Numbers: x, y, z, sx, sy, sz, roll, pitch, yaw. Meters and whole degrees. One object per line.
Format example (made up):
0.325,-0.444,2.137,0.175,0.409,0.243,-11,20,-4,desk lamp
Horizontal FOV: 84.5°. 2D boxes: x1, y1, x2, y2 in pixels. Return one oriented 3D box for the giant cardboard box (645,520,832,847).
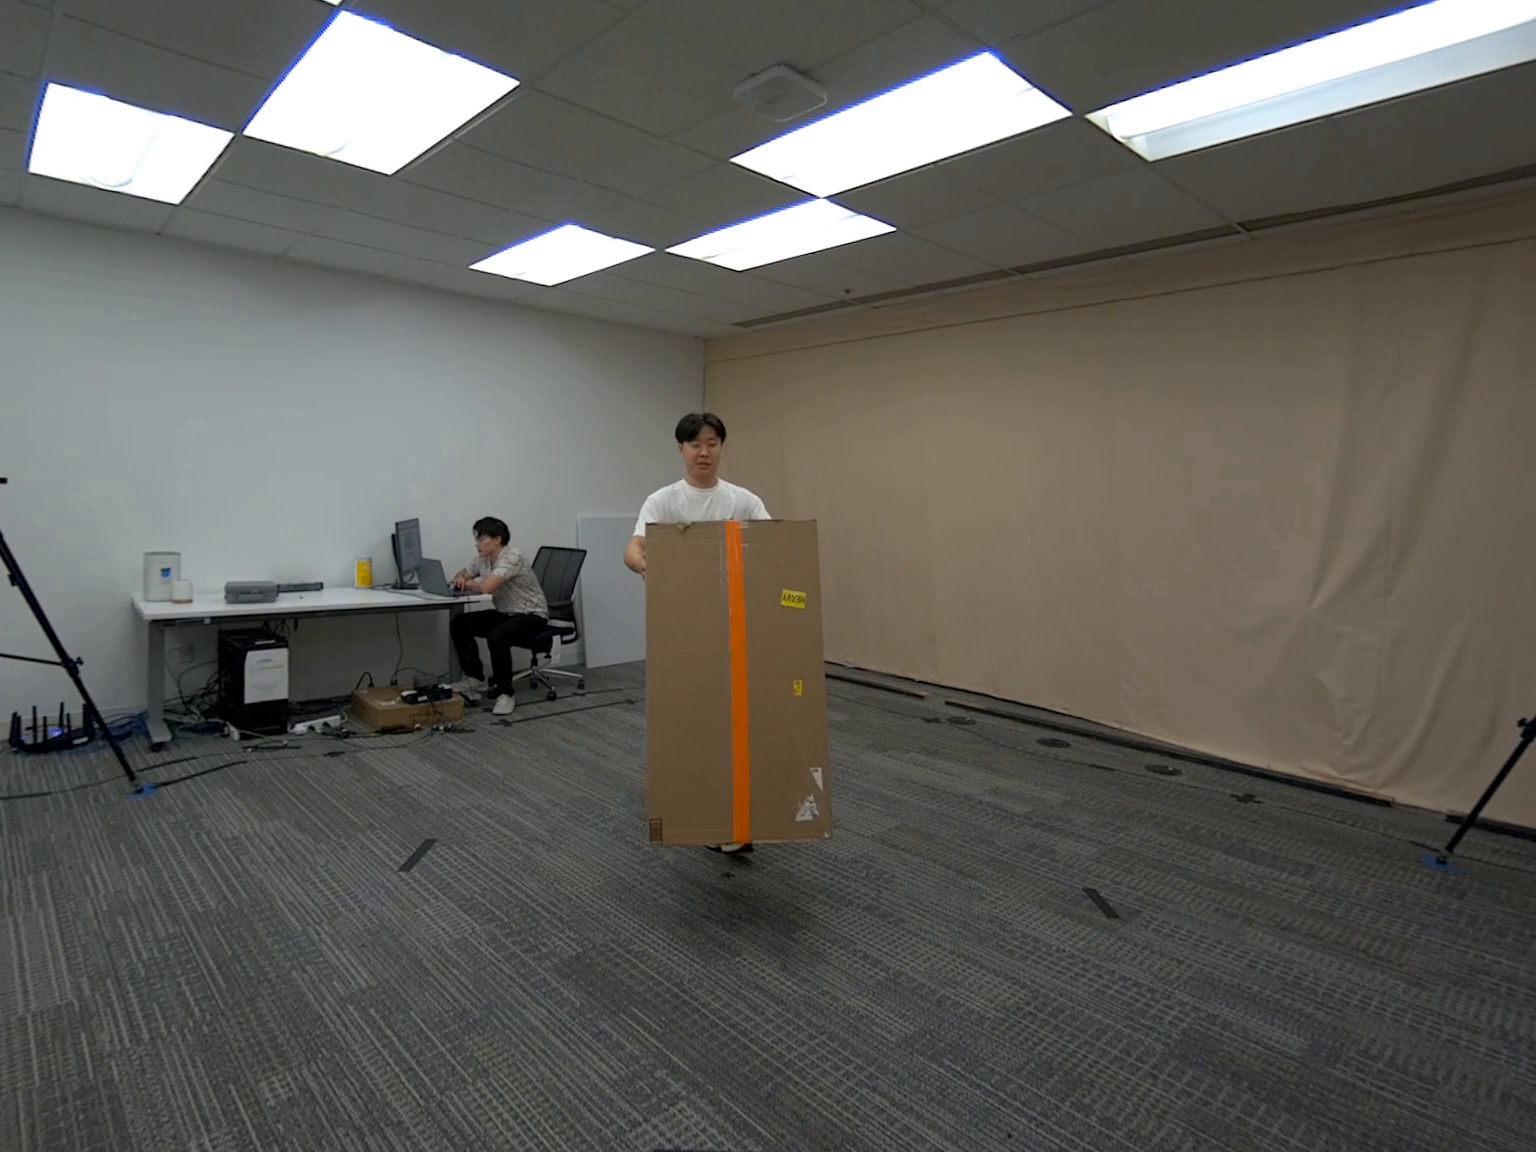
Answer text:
-0.128,0.360,2.894,0.576,1.034,0.424,-1,-10,-4,giant cardboard box
